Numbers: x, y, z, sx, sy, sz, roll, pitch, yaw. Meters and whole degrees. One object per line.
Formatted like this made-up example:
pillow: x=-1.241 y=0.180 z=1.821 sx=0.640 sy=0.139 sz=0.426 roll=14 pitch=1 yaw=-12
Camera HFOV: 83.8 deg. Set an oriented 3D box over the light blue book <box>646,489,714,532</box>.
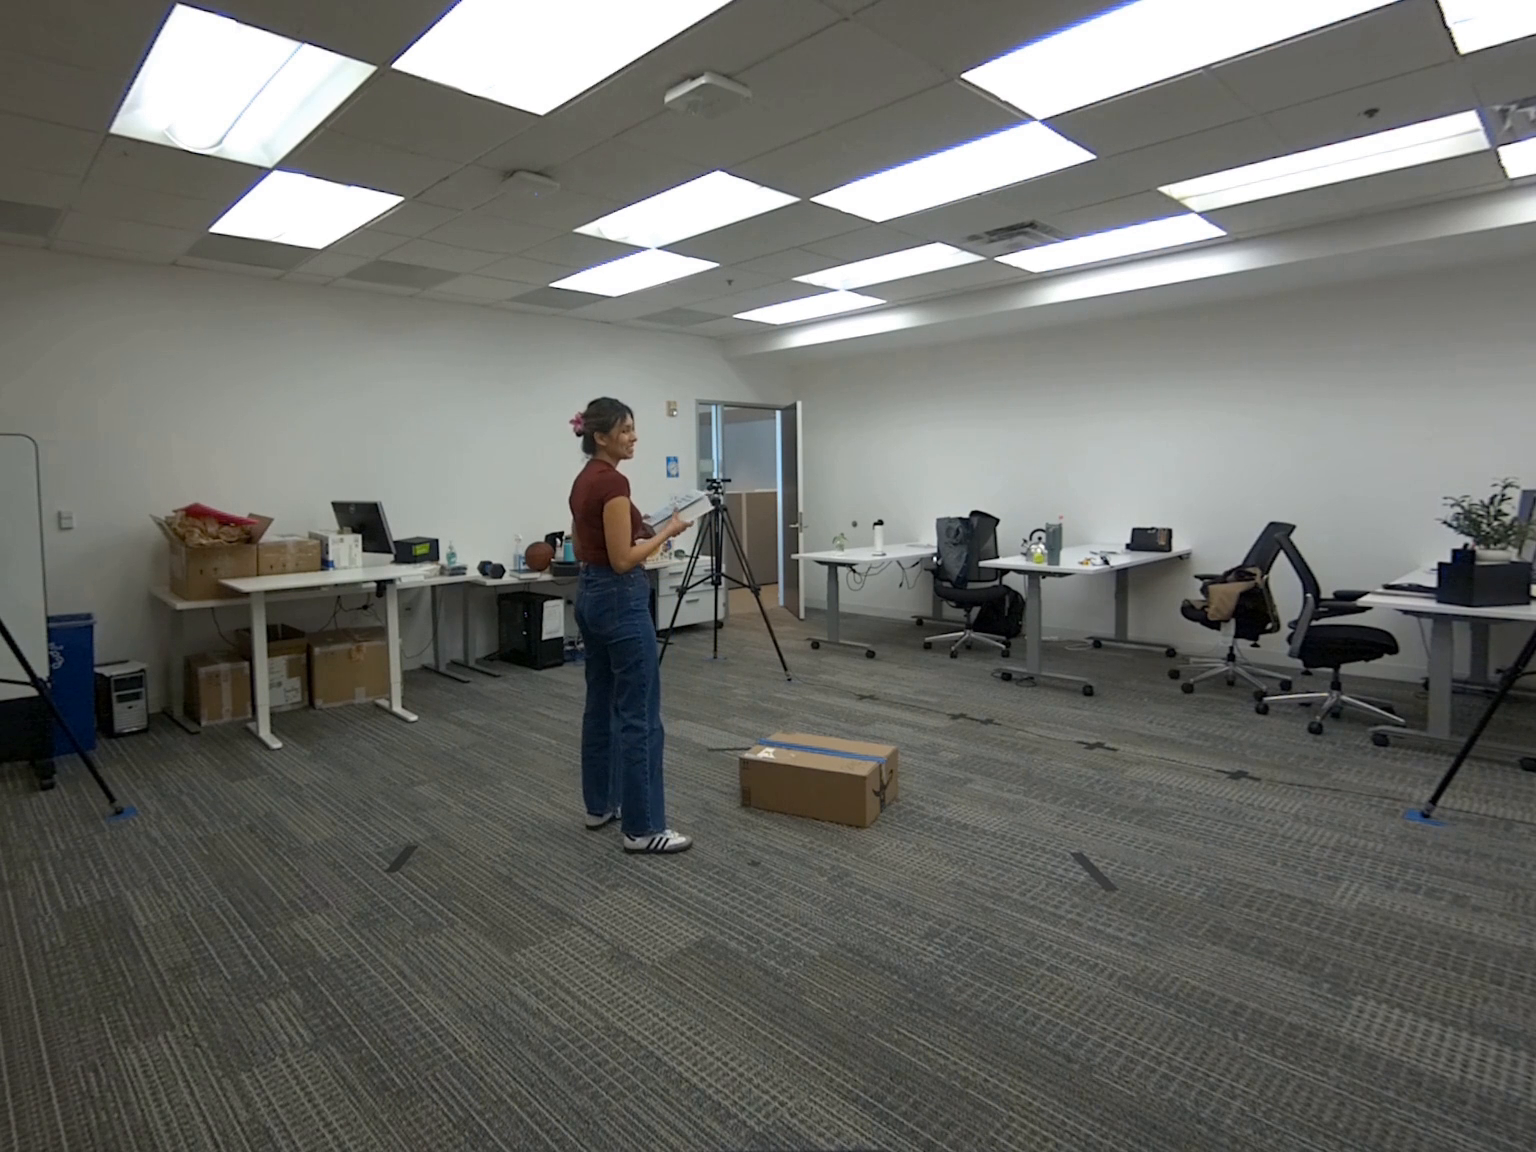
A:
light blue book: x=-0.368 y=-0.254 z=3.459 sx=0.260 sy=0.057 sz=0.197 roll=-31 pitch=22 yaw=-13
